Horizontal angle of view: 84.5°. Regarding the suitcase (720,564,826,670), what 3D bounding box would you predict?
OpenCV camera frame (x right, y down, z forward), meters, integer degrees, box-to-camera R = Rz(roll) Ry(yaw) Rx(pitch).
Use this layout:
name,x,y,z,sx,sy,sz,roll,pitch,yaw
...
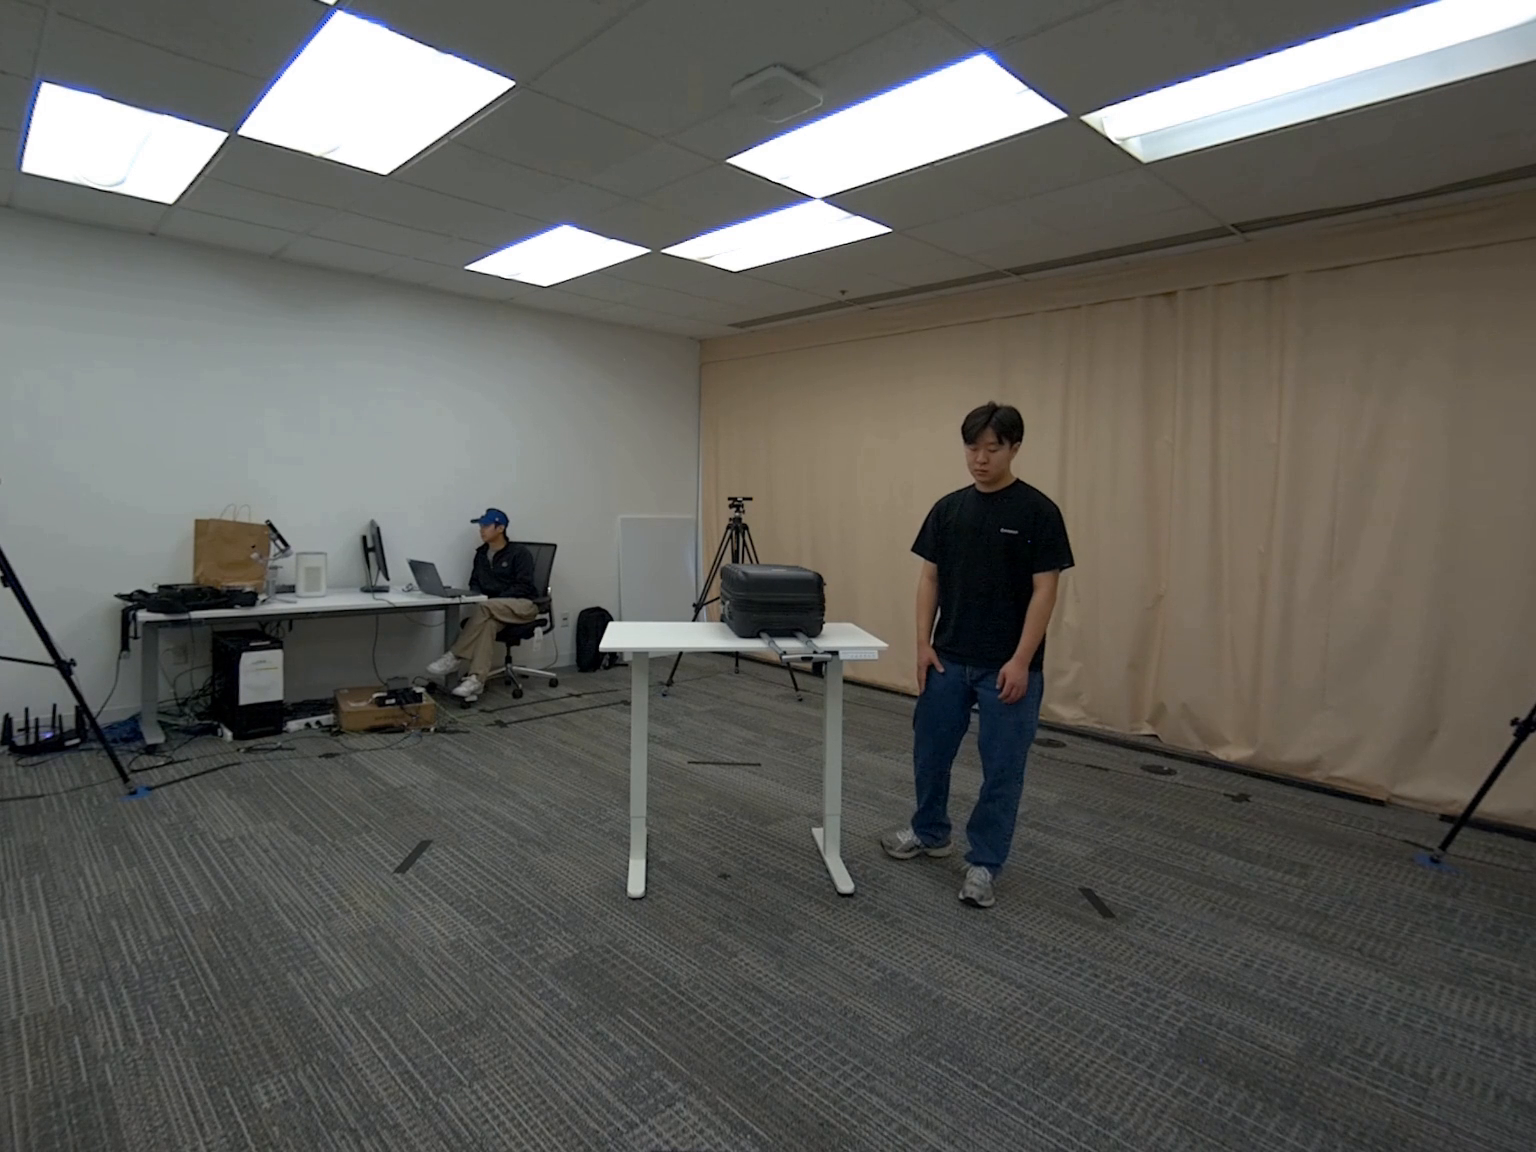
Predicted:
name,x,y,z,sx,sy,sz,roll,pitch,yaw
suitcase,0.035,0.108,3.099,0.381,0.257,0.986,1,3,-9
